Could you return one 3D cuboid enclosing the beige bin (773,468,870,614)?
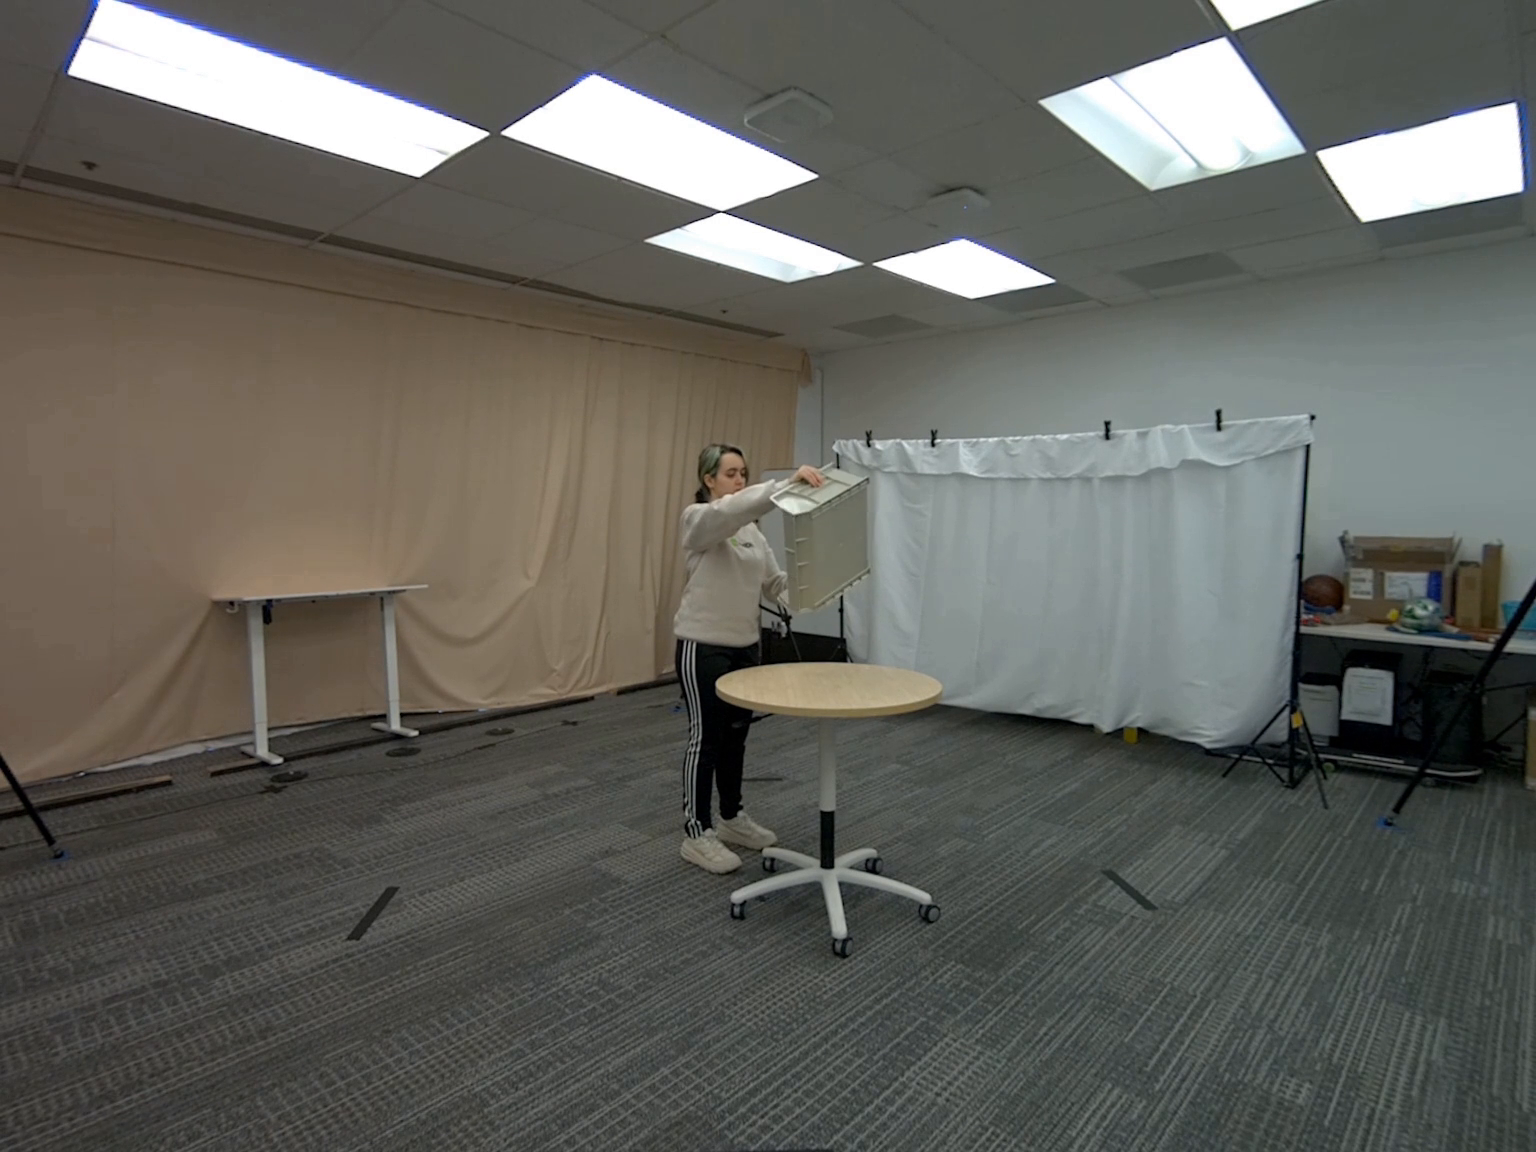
[{"bbox_3d":[0.188,-0.131,3.029,0.371,0.414,0.196,-30,38,-35],"label":"beige bin"}]
